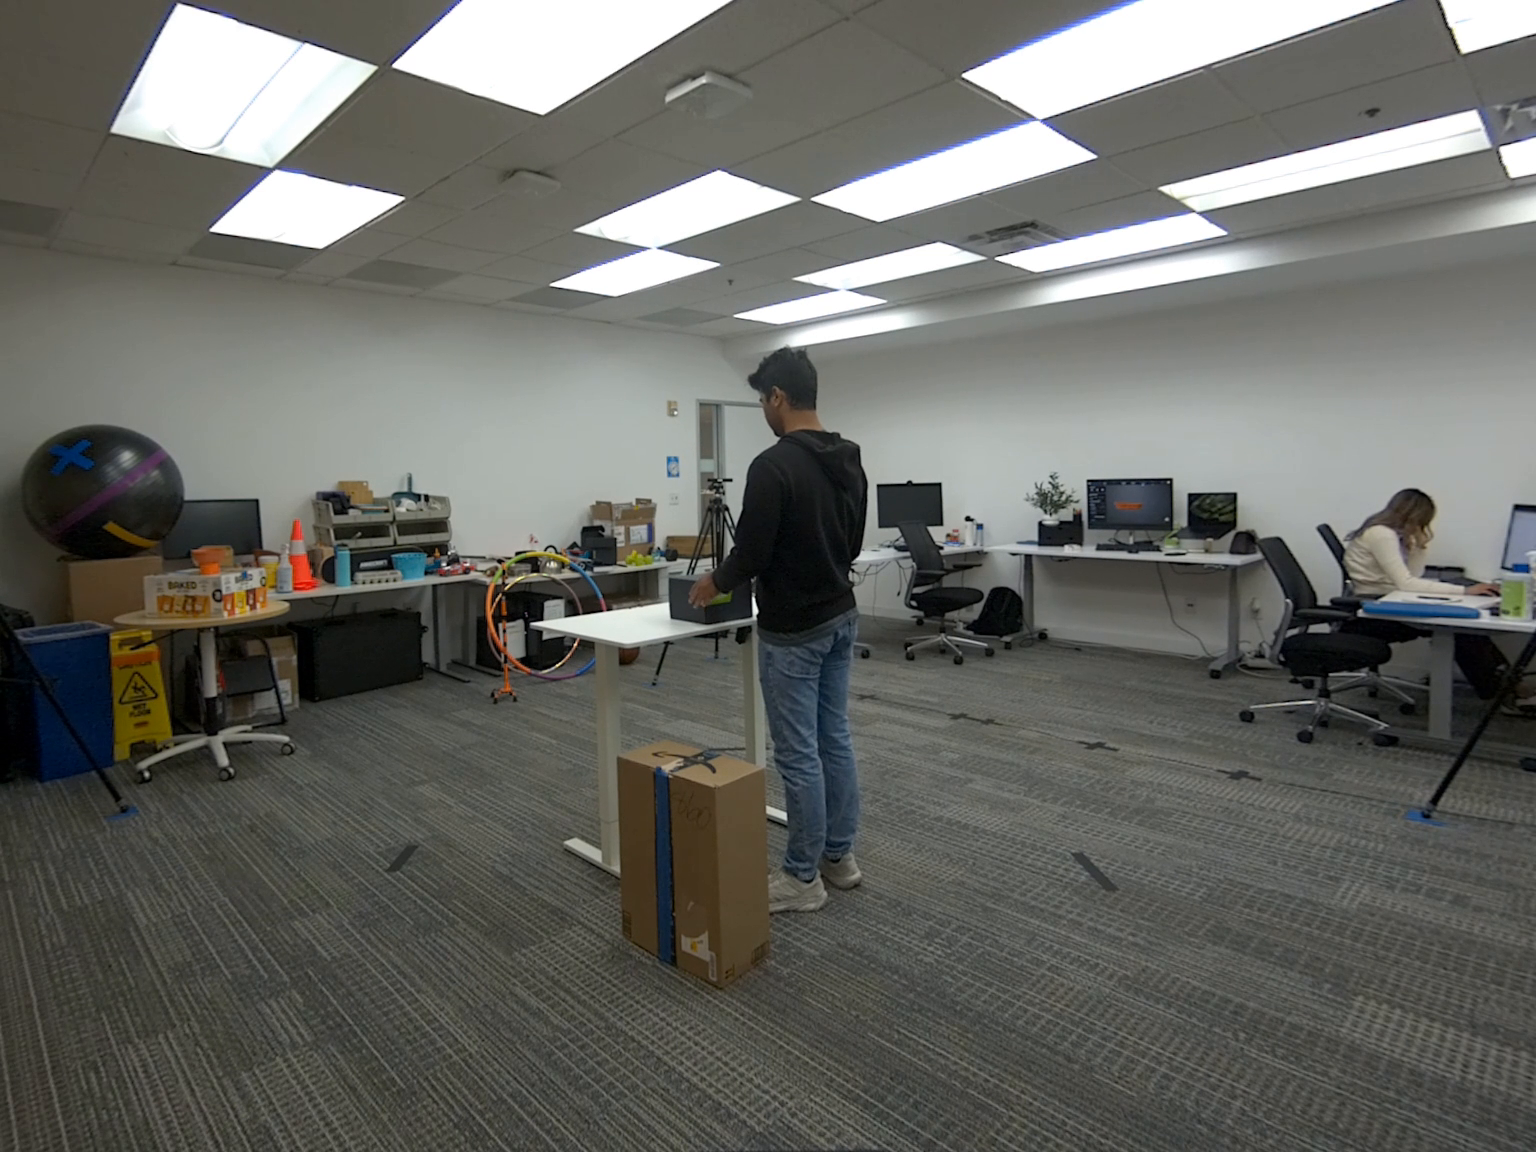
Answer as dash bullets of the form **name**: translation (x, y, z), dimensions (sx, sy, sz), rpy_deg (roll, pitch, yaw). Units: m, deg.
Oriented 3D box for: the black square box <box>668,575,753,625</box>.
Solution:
- **black square box**: translation (-0.220, 0.077, 3.173), dimensions (0.222, 0.155, 0.223), rpy_deg (-6, 7, -42)
